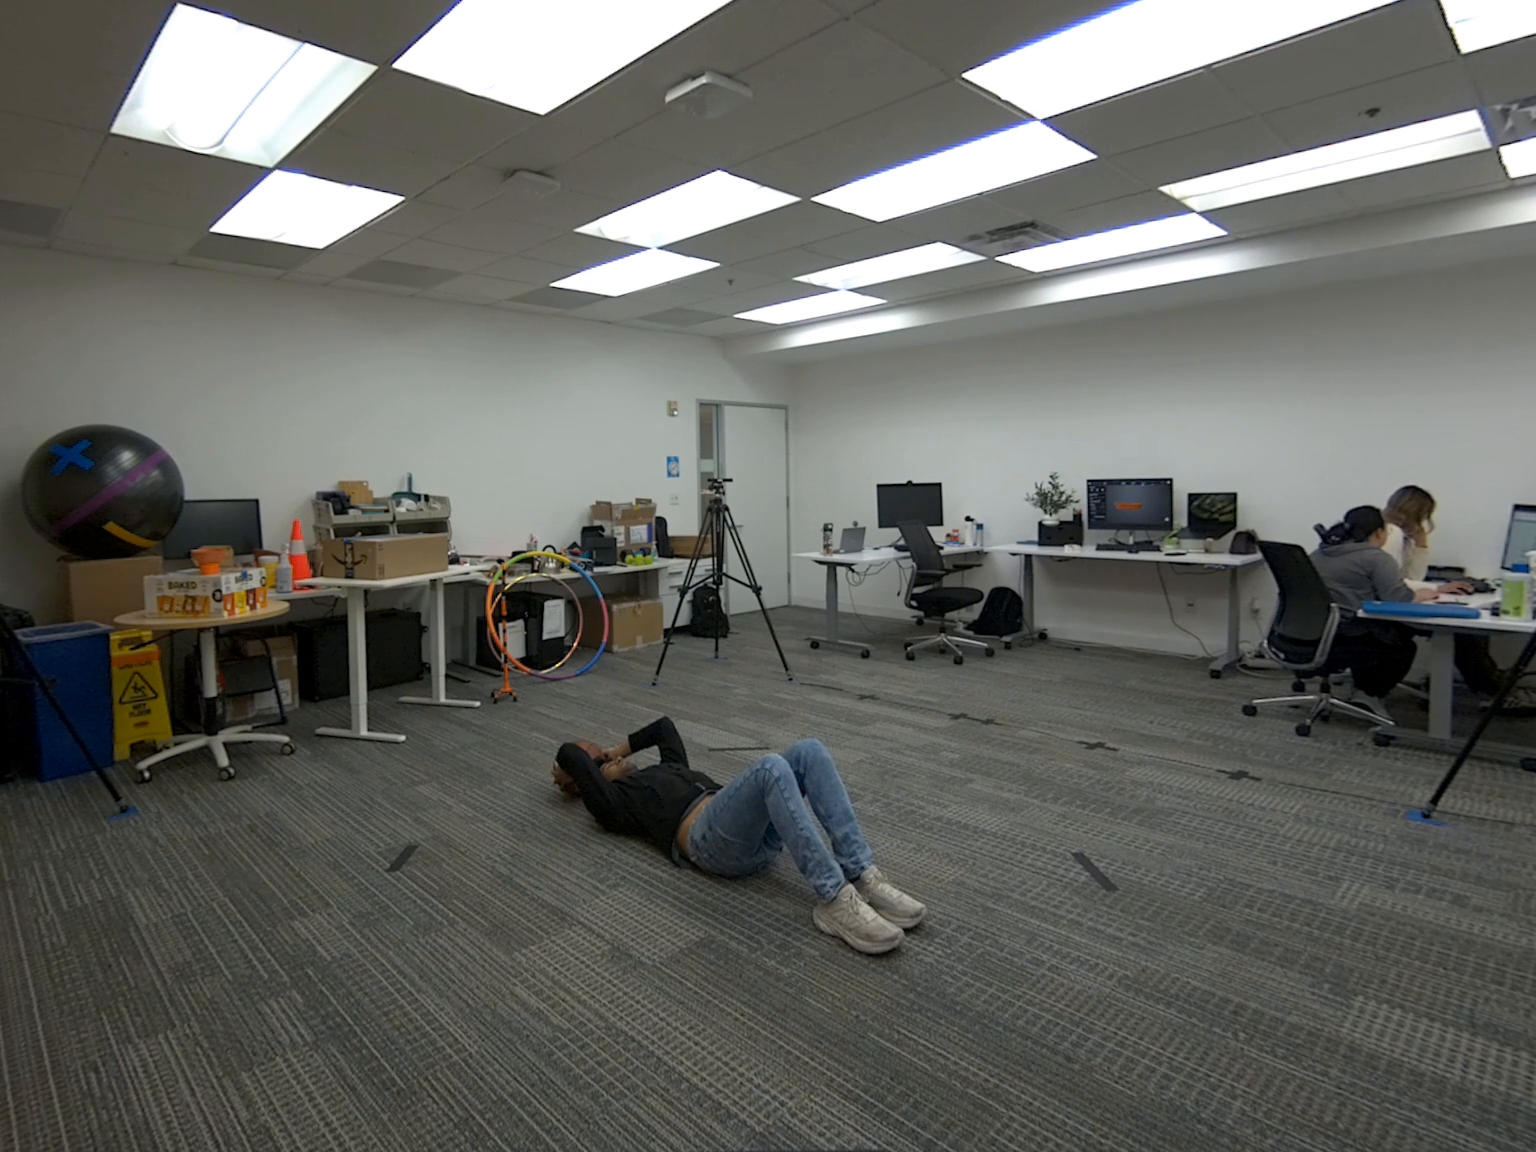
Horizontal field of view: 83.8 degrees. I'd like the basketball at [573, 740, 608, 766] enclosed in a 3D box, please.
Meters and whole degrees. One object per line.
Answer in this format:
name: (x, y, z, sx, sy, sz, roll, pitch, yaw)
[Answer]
basketball: (-0.833, 0.858, 3.833, 0.236, 0.235, 0.237, -1, 5, -2)
